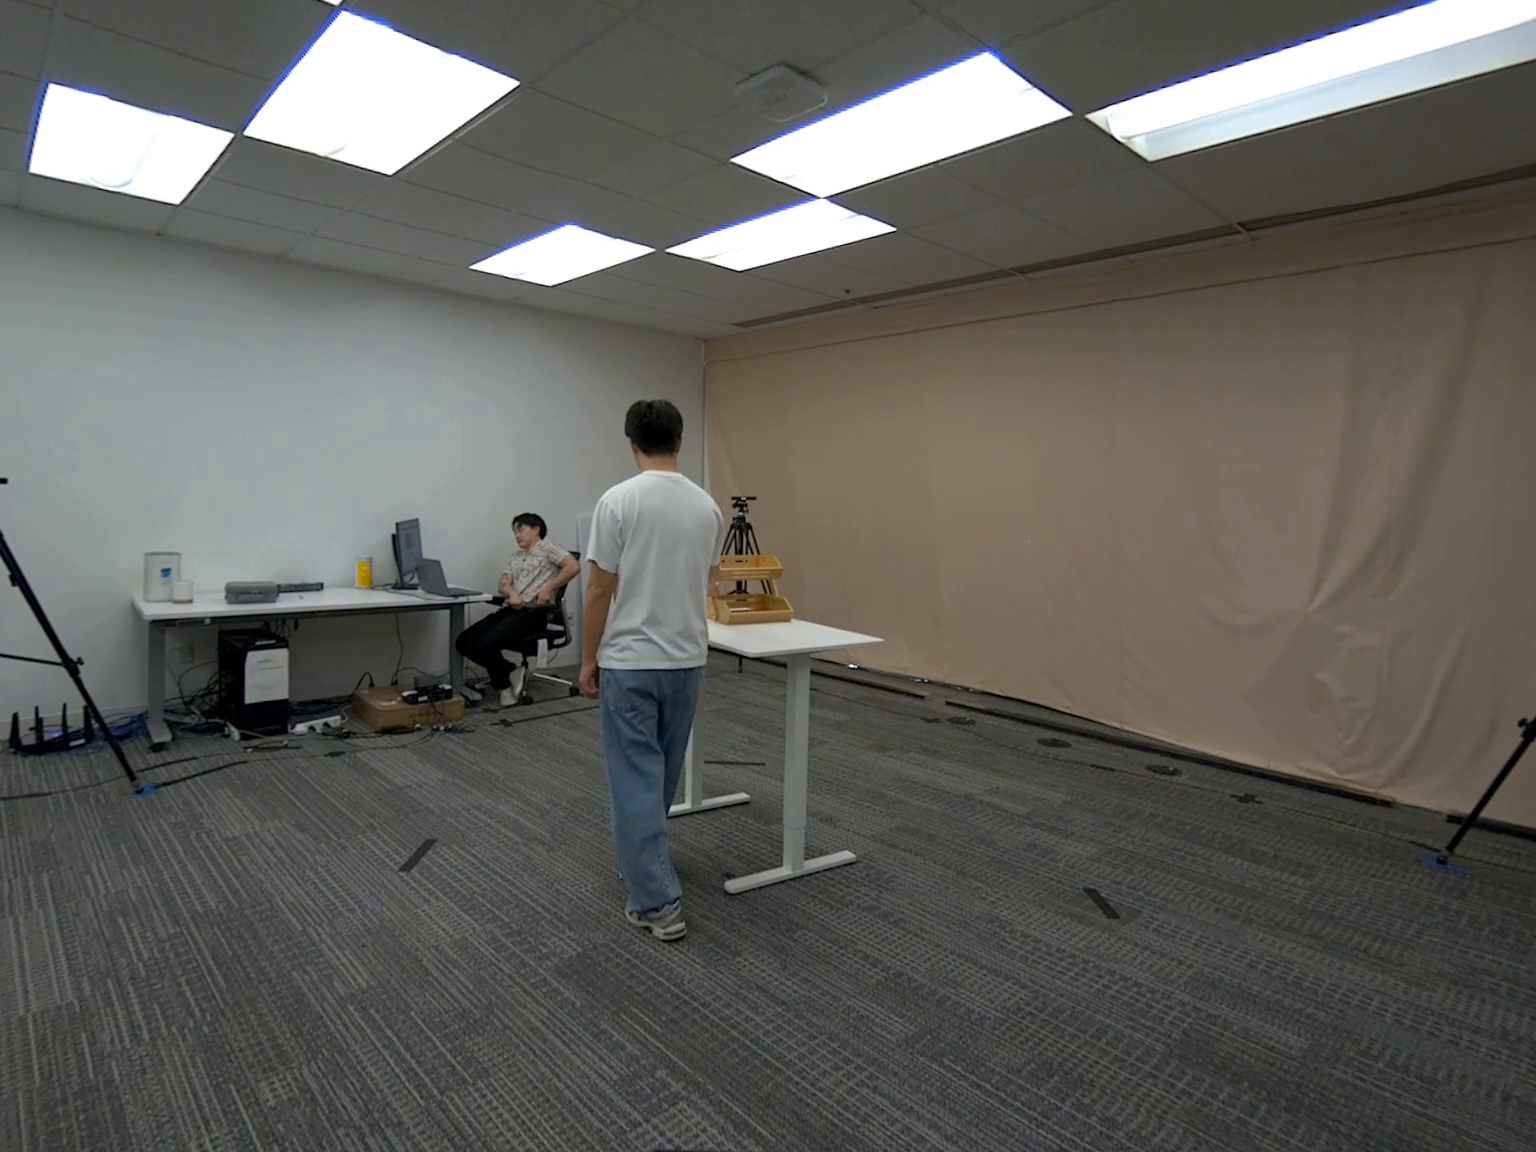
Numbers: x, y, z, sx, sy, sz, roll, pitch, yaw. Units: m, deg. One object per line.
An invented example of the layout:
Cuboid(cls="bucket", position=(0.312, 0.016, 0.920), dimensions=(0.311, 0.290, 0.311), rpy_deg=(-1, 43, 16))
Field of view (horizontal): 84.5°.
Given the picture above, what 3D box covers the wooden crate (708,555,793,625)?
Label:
Cuboid(cls="wooden crate", position=(-0.105, 0.048, 3.565), dimensions=(0.318, 0.273, 0.309), rpy_deg=(-1, 4, -31))
